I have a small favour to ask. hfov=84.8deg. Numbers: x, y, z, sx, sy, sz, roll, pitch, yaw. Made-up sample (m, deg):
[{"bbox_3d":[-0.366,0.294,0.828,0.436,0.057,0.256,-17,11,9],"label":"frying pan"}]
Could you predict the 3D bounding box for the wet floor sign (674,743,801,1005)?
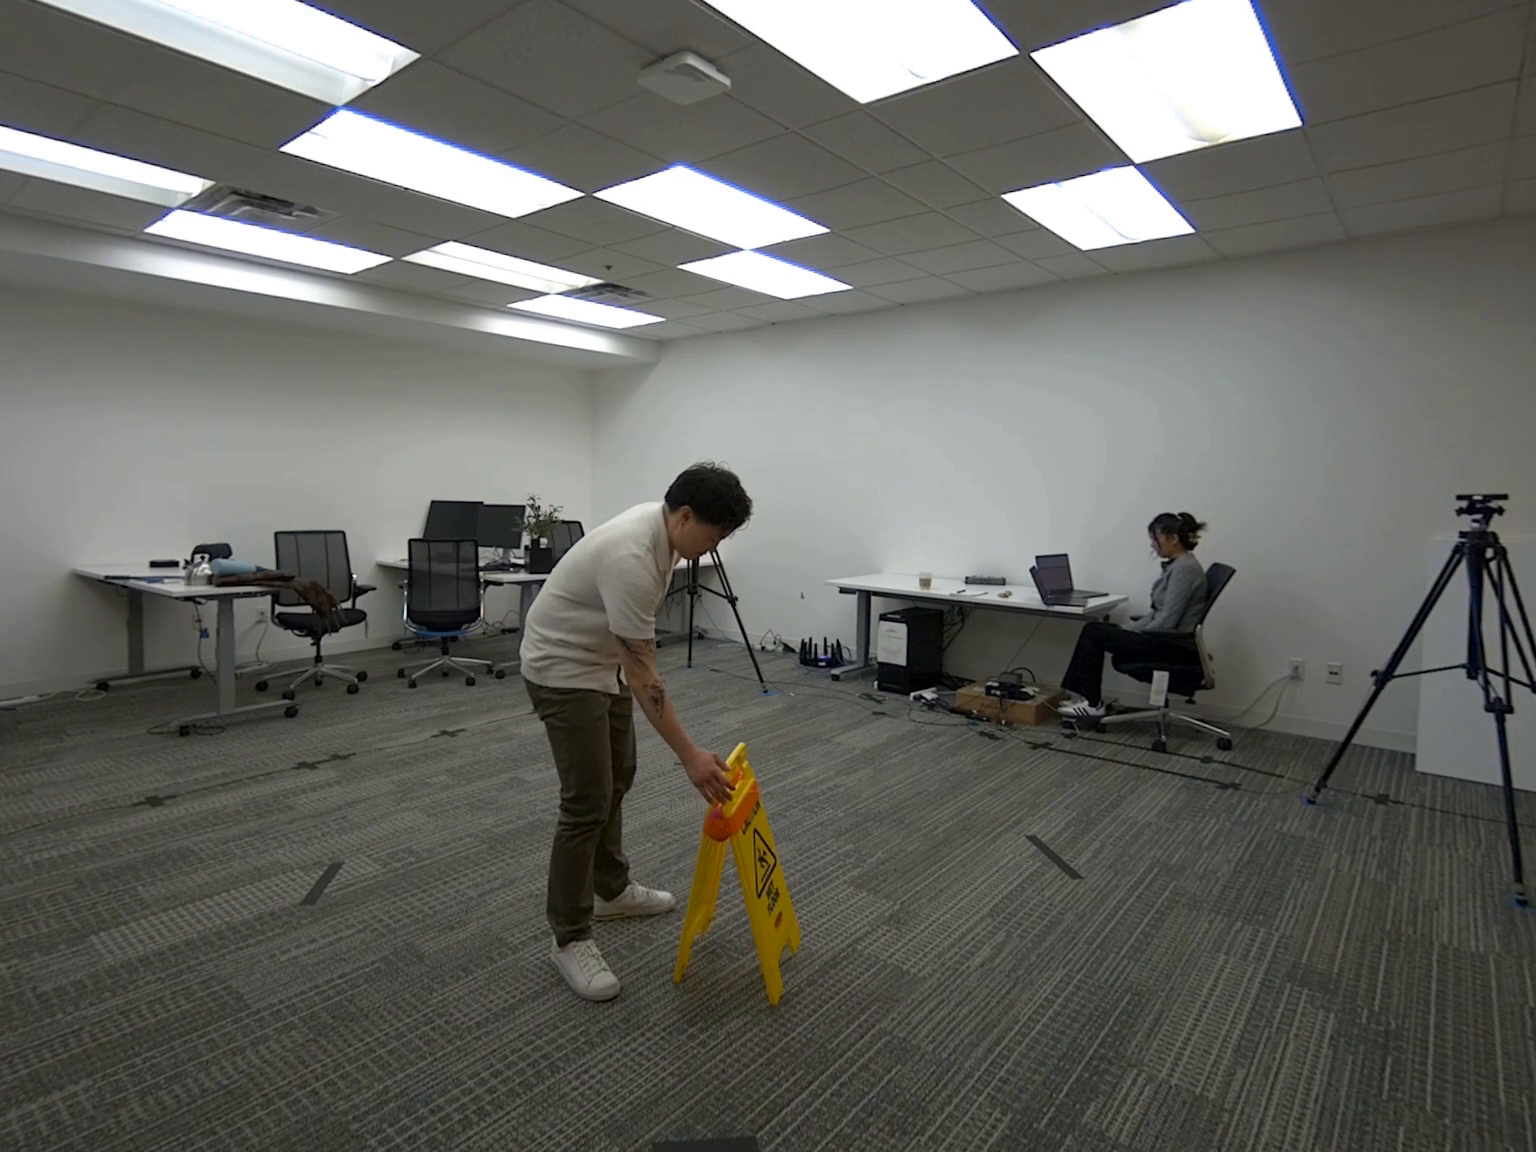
[{"bbox_3d":[-0.096,0.803,2.385,0.296,0.637,0.280,3,14,19],"label":"wet floor sign"}]
